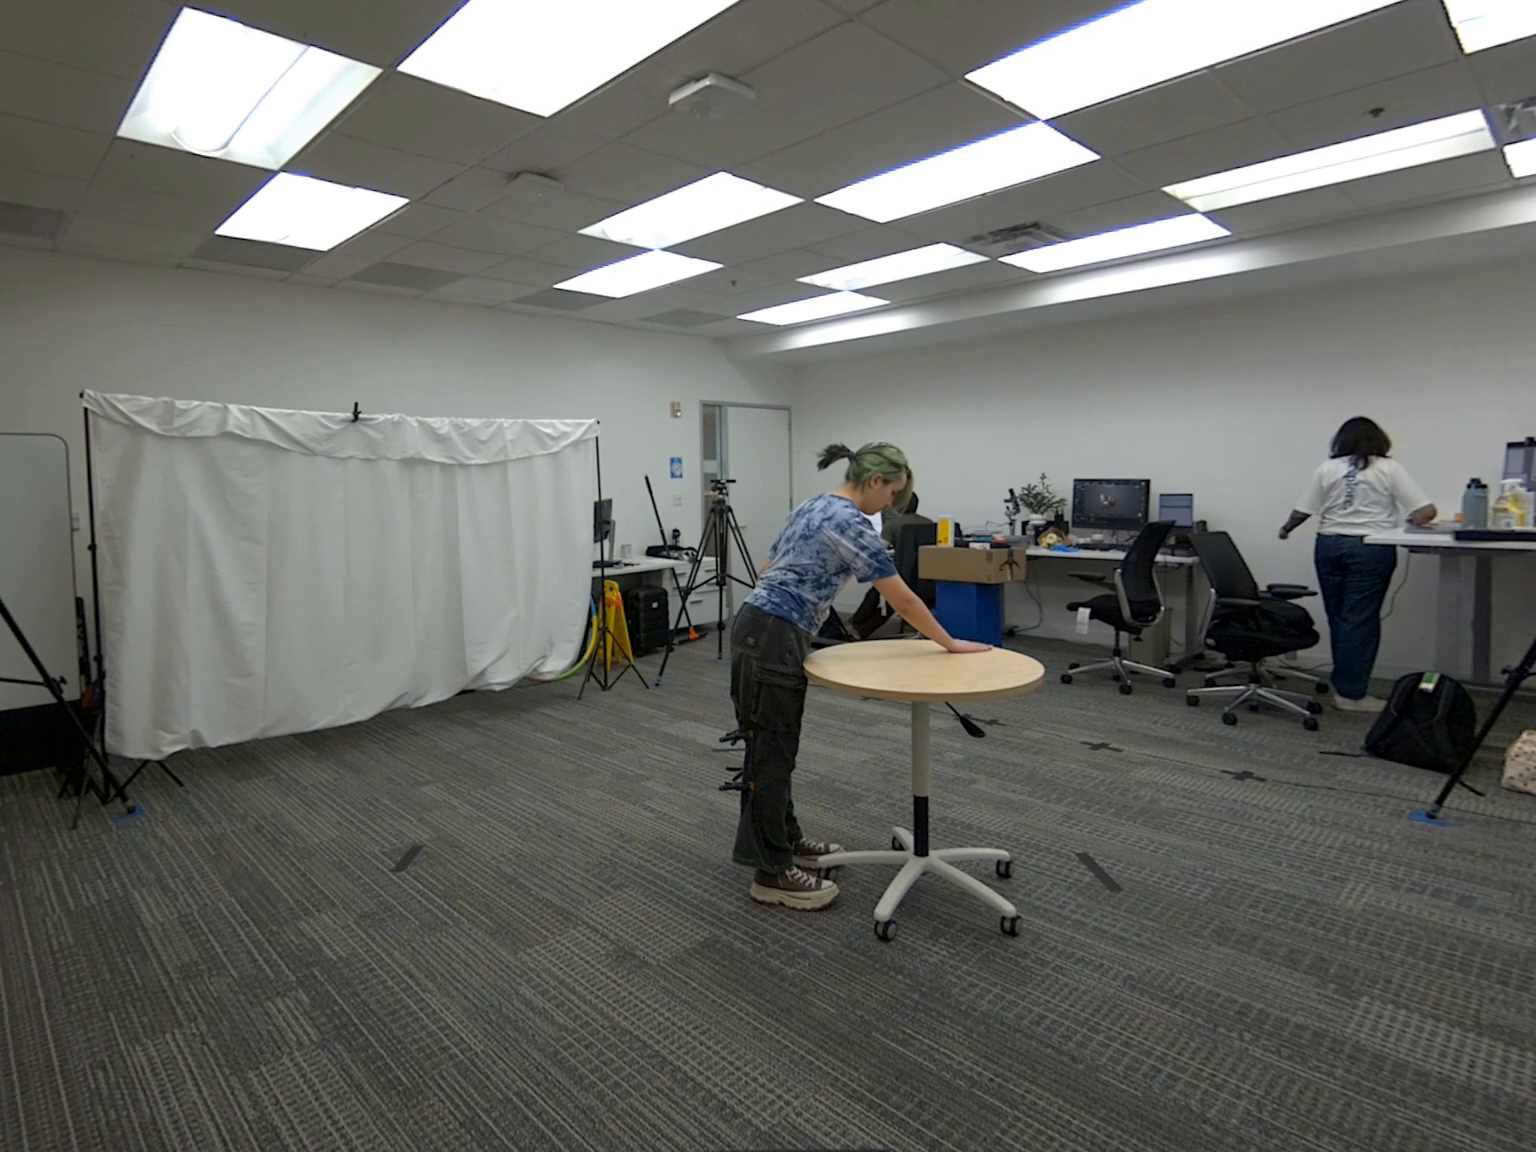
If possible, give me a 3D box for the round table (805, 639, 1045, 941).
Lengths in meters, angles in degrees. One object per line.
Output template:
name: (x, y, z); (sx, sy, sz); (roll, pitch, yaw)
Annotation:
round table: (0.496, 0.675, 2.816); (0.784, 0.783, 0.789); (-1, 5, -2)
